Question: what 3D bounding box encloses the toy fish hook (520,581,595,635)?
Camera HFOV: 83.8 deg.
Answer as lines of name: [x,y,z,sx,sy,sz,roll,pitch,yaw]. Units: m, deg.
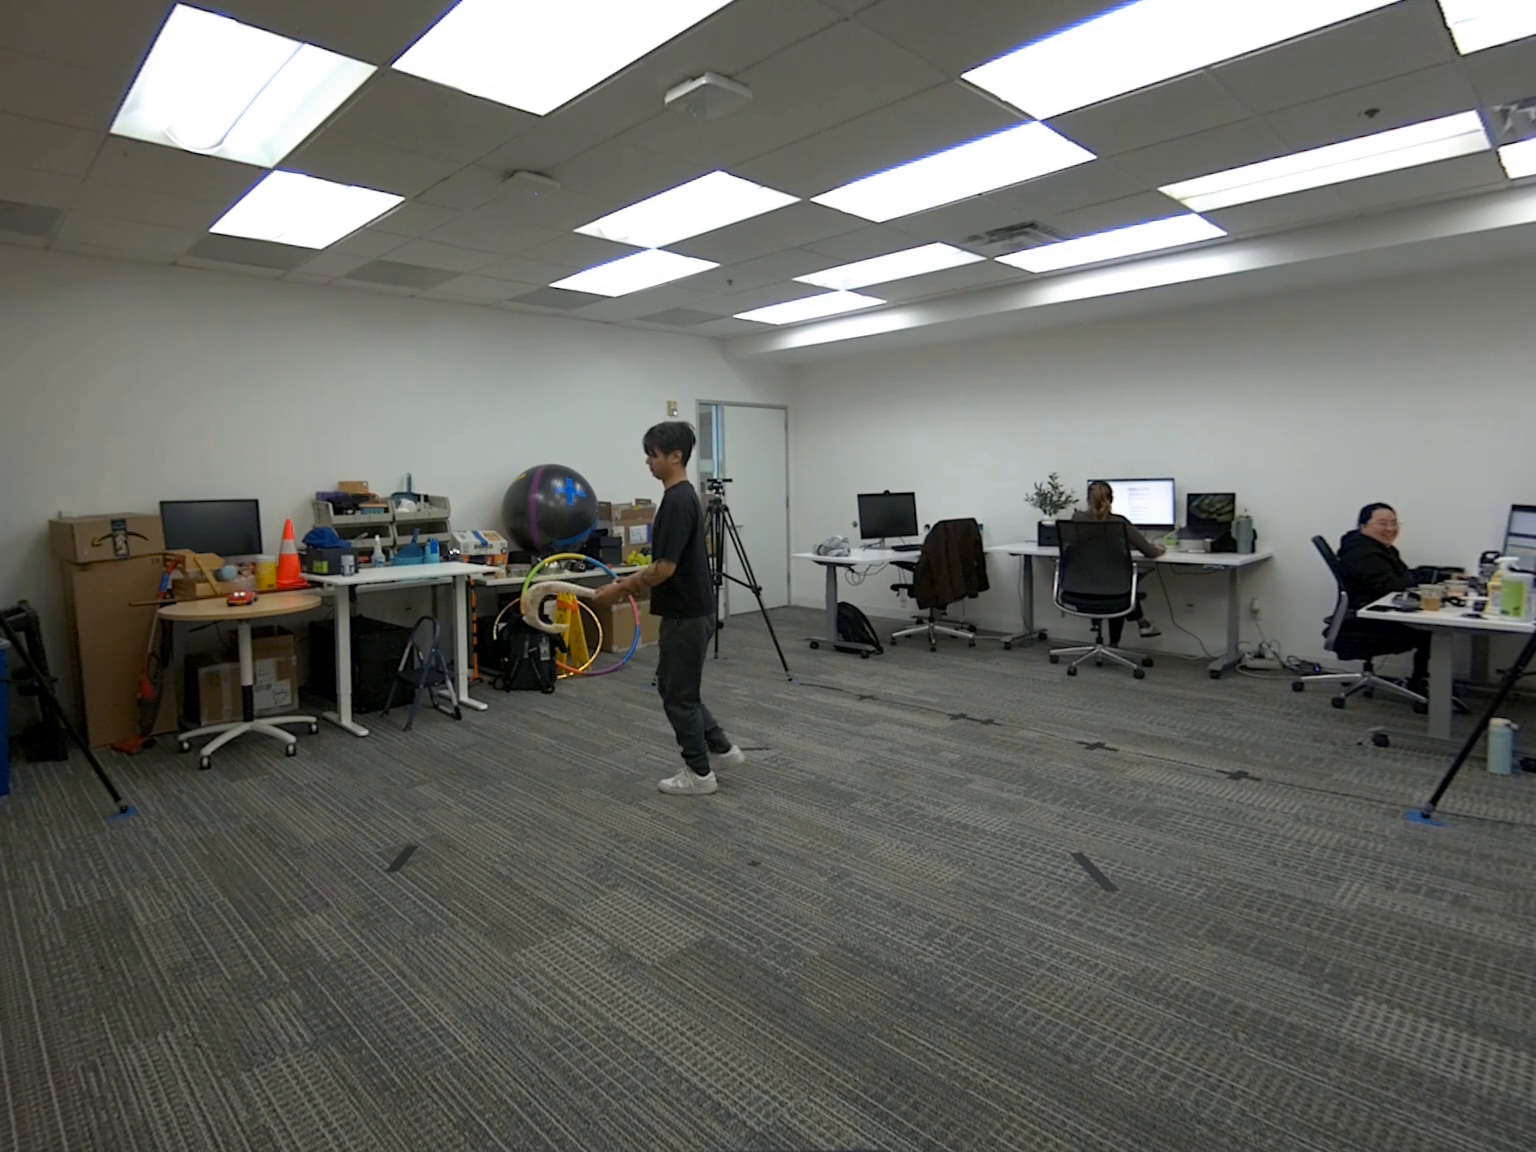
toy fish hook: [-0.784,0.137,3.670,0.499,0.222,0.049,-2,13,-16]
